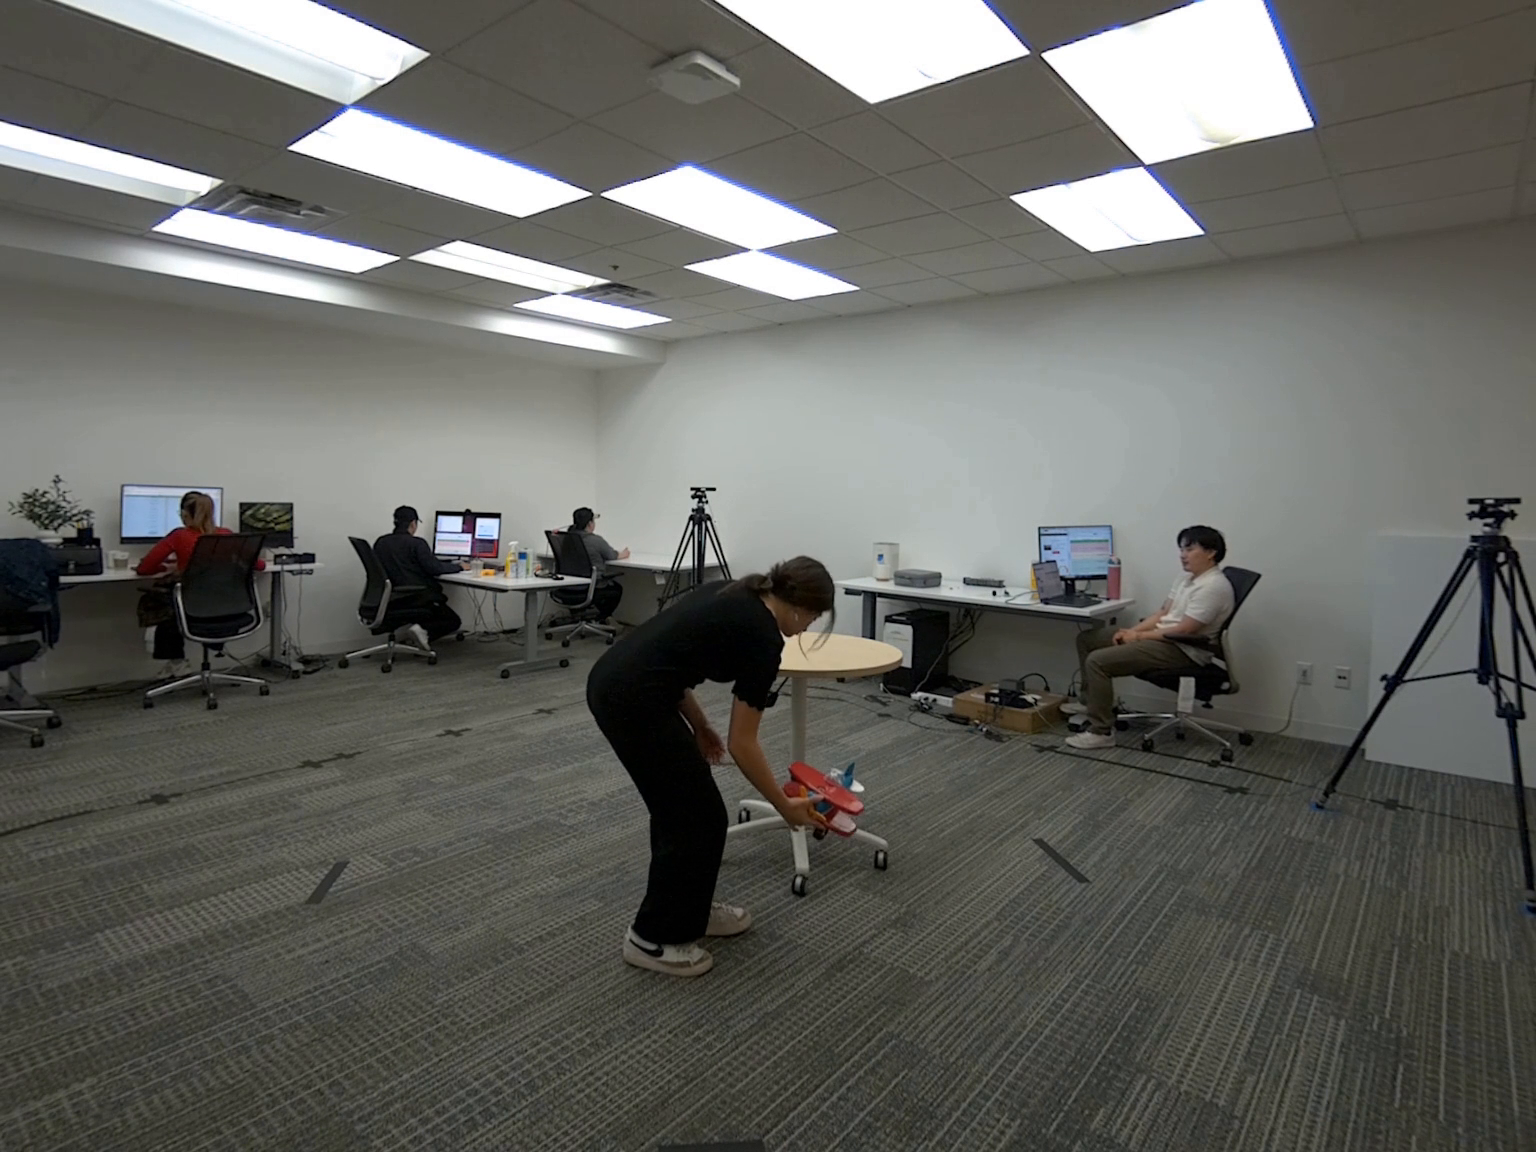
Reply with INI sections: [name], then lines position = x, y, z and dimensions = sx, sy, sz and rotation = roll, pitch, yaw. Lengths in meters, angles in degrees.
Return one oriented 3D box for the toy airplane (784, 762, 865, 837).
[toy airplane]
position = 0.160, 0.662, 2.581
dimensions = 0.254, 0.153, 0.262
rotation = 12, 34, 8
